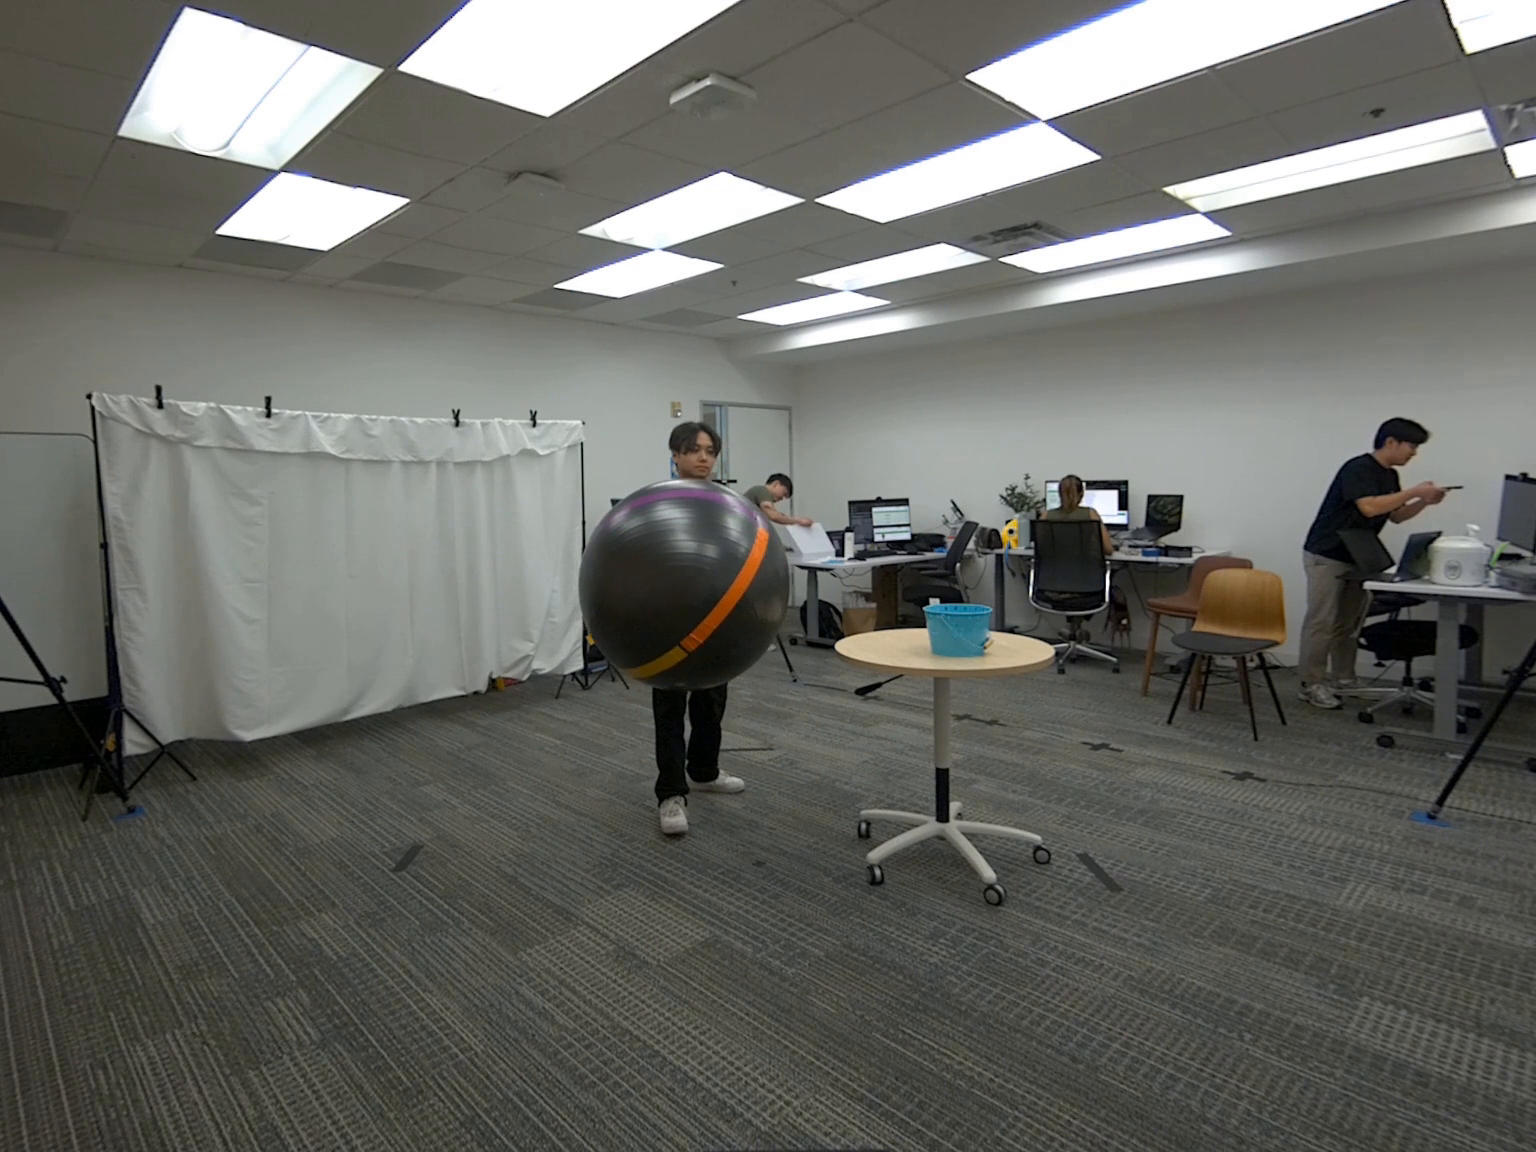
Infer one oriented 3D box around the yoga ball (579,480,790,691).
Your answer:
[{"bbox_3d":[-0.305,0.039,3.073,0.757,0.755,0.762,-1,5,-2],"label":"yoga ball"}]
